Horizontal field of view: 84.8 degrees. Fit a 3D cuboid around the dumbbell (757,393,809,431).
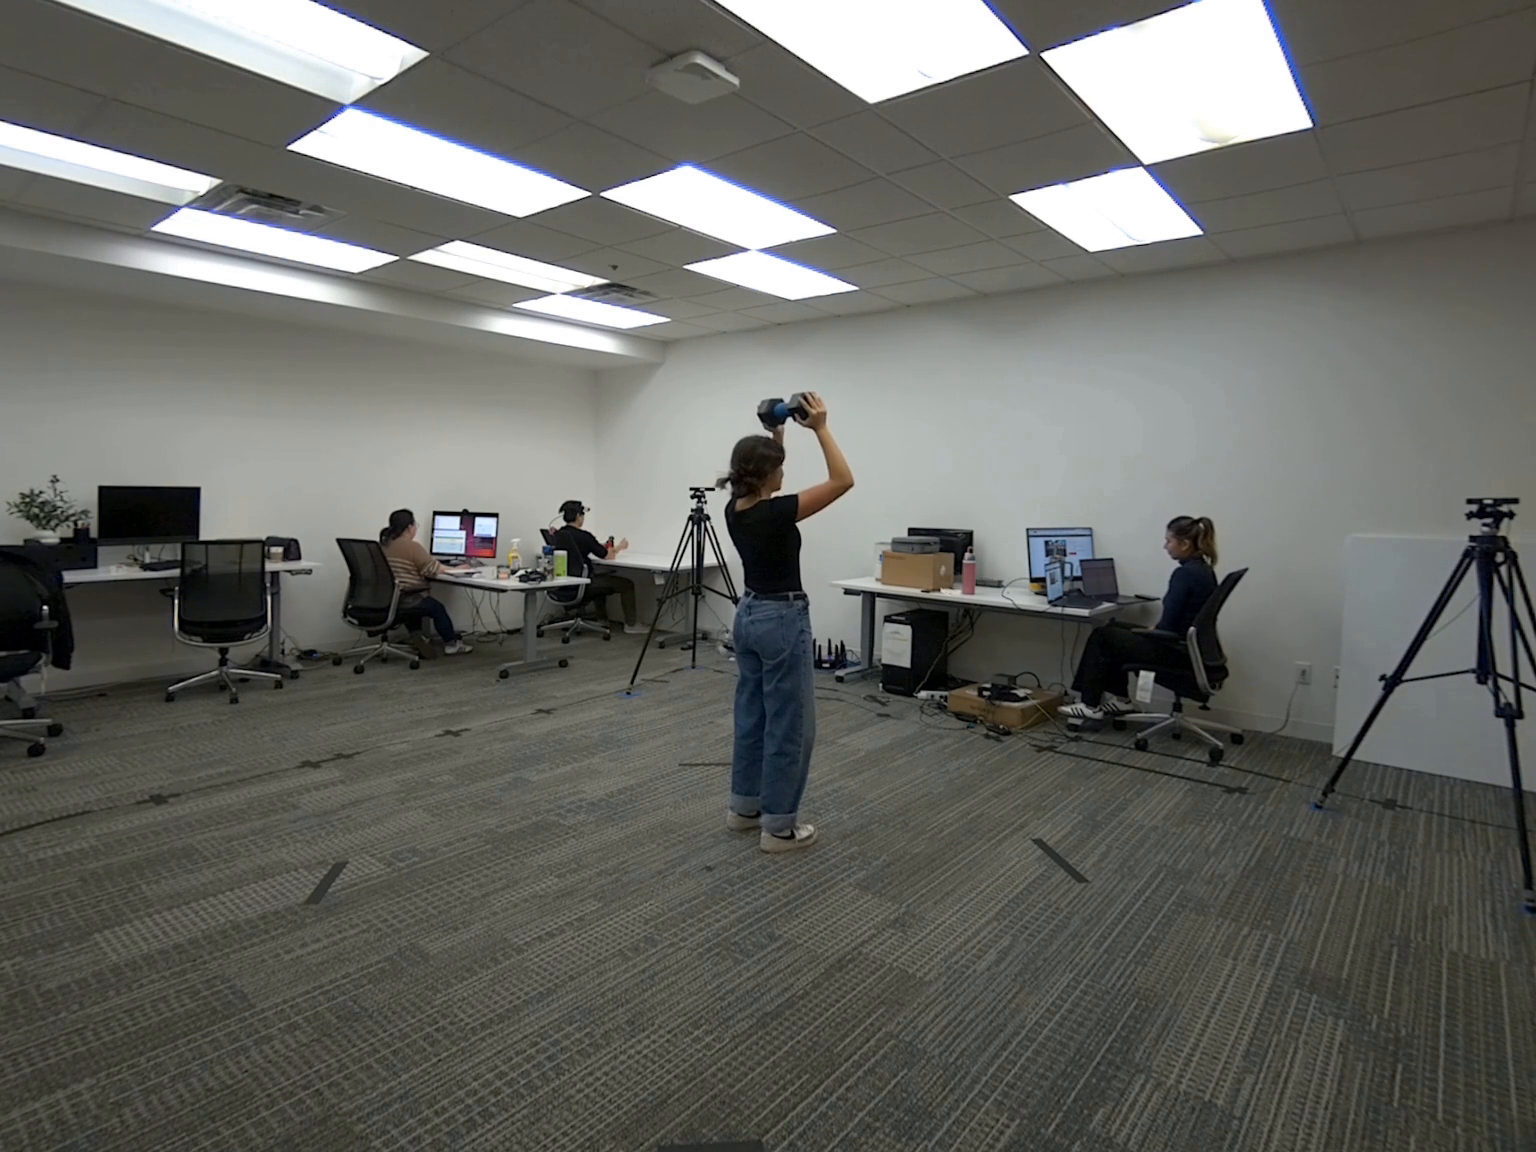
[{"bbox_3d":[0.072,-0.658,3.338,0.105,0.123,0.303,31,-13,-32],"label":"dumbbell"}]
